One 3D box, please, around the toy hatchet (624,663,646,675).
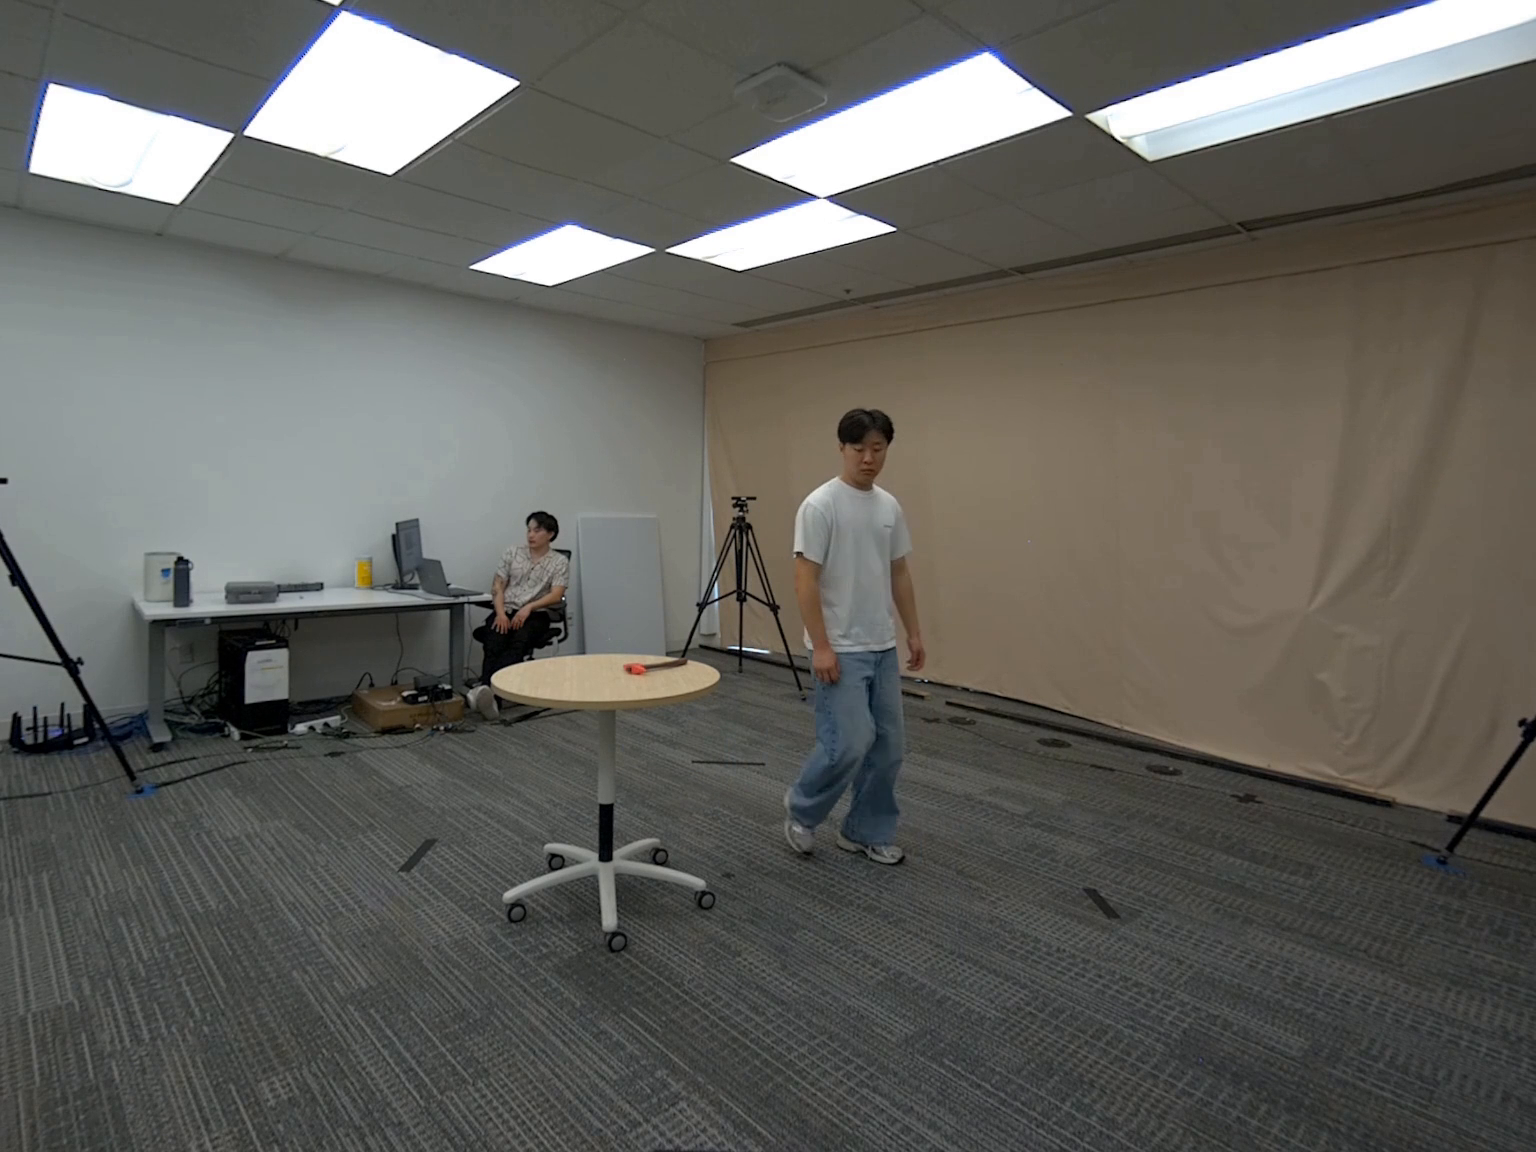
[{"bbox_3d":[-0.421,0.317,2.986,0.134,0.029,0.264,0,2,30],"label":"toy hatchet"}]
